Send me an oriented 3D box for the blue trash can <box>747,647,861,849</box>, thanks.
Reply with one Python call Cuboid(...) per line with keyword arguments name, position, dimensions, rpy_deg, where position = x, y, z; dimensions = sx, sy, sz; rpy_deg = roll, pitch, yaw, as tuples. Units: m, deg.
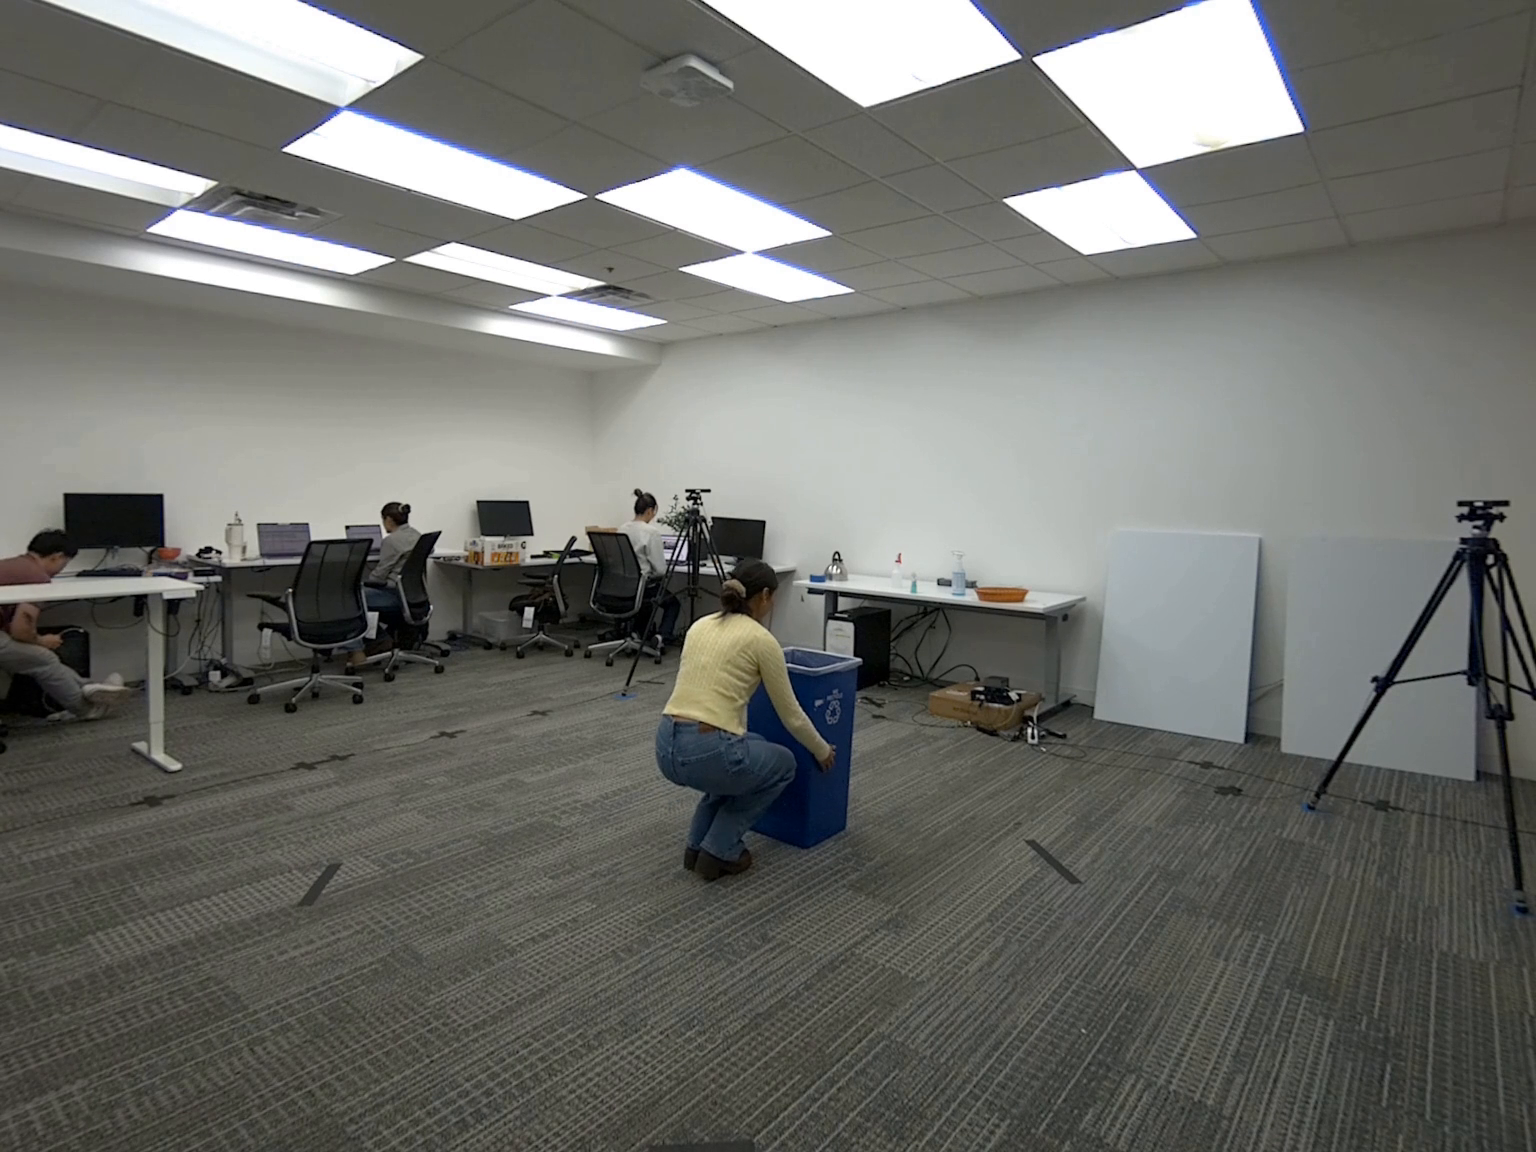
Cuboid(name="blue trash can", position=(0.123, 0.685, 3.507), dimensions=(0.391, 0.711, 0.363), rpy_deg=(4, 4, 38))
